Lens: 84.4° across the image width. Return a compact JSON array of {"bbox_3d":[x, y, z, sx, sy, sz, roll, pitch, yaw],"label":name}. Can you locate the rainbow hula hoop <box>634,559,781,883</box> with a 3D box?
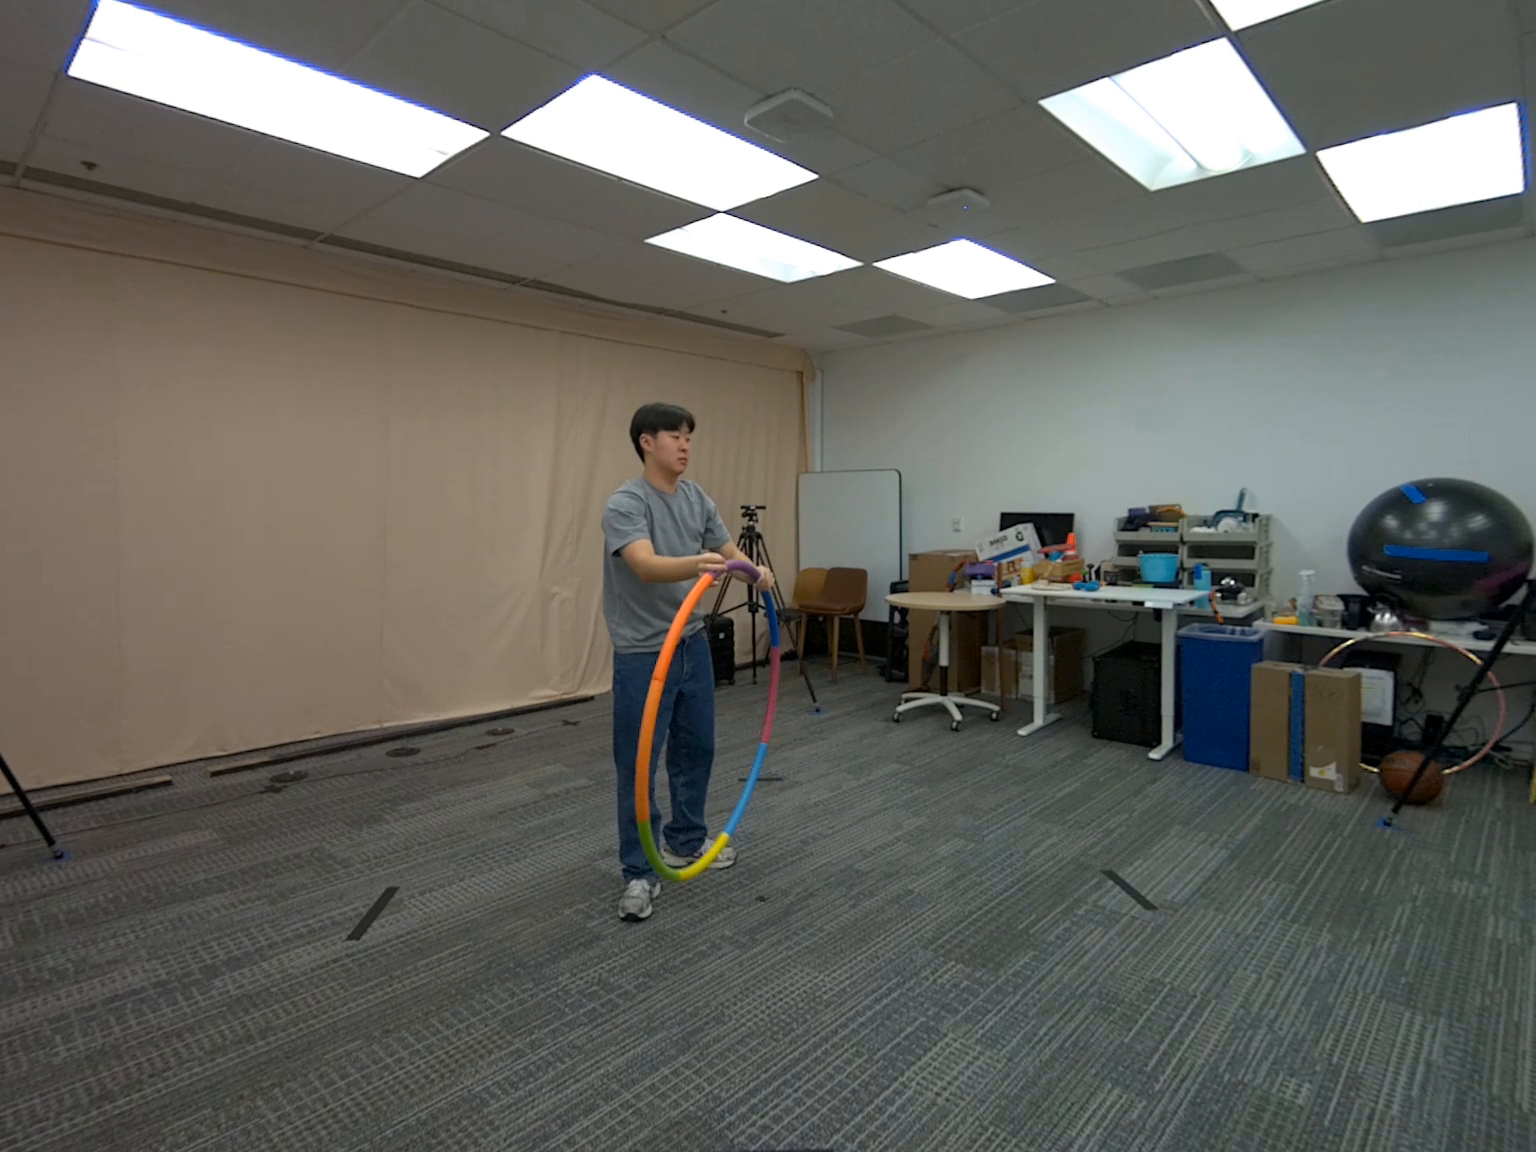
[{"bbox_3d":[-0.136,0.435,2.616,0.036,0.975,0.956,9,7,23],"label":"rainbow hula hoop"}]
